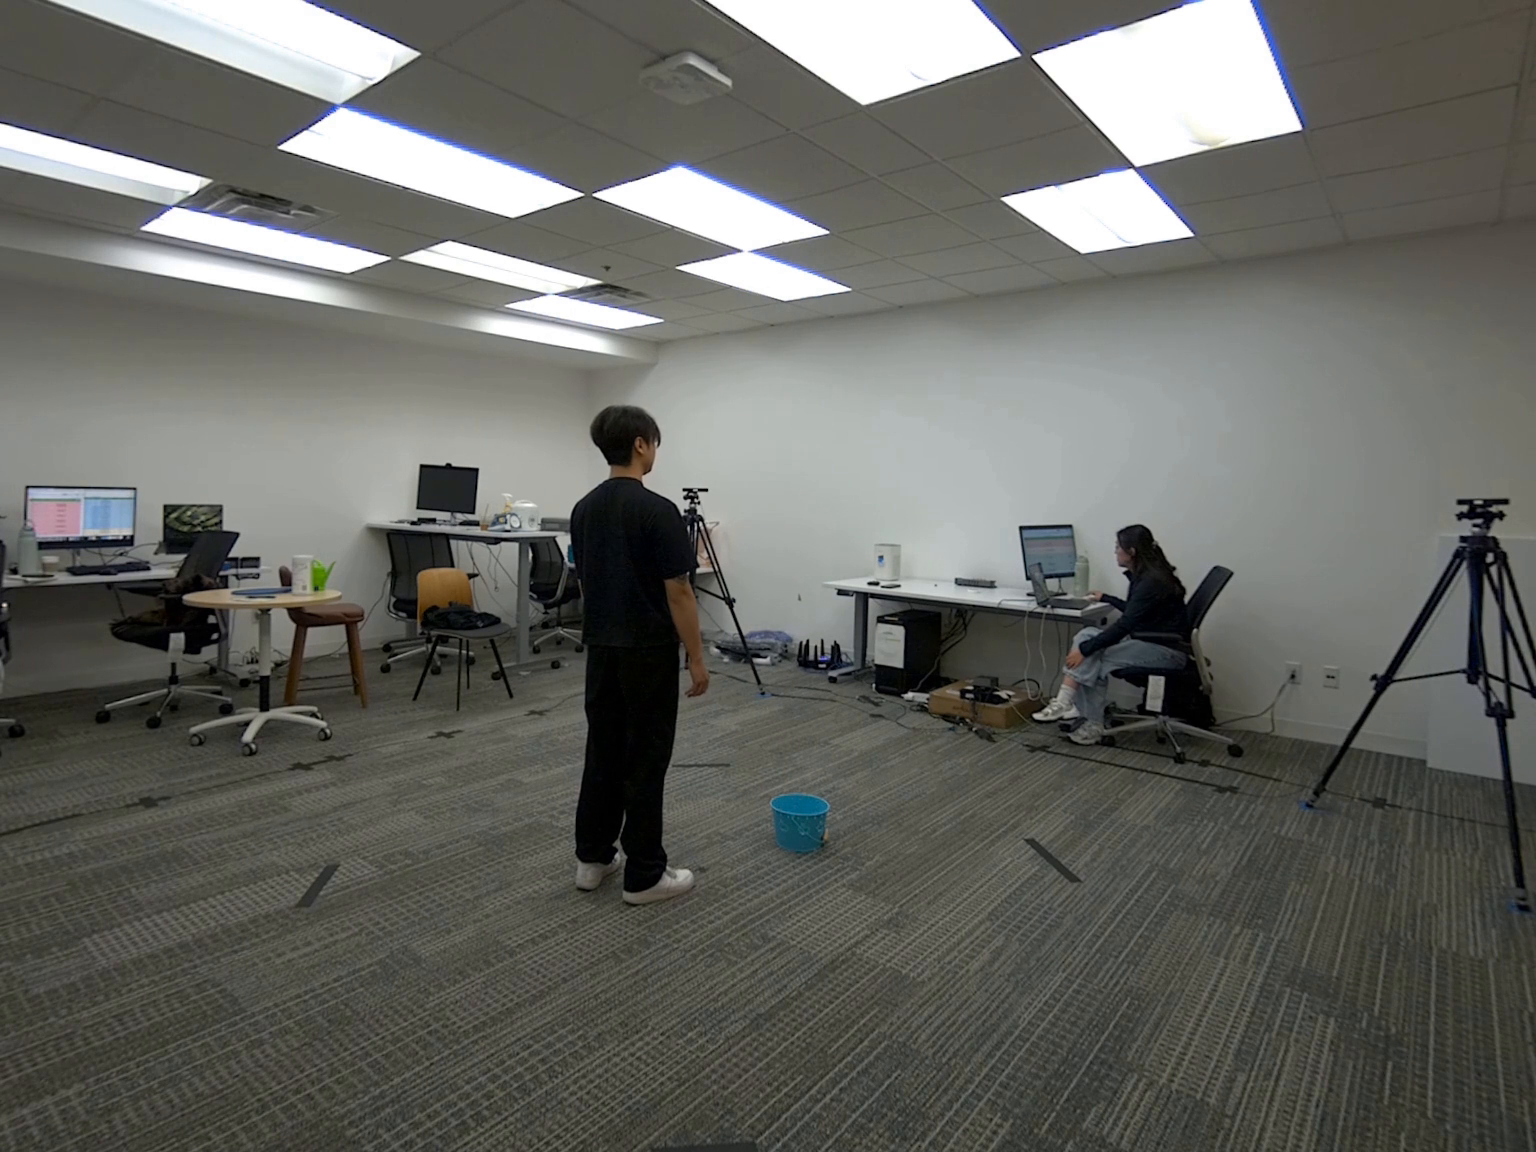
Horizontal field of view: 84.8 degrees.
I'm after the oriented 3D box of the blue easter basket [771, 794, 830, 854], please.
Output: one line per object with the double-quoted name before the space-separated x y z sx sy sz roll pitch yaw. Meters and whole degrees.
"blue easter basket" 0.119 0.975 3.366 0.243 0.155 0.245 1 5 -2
